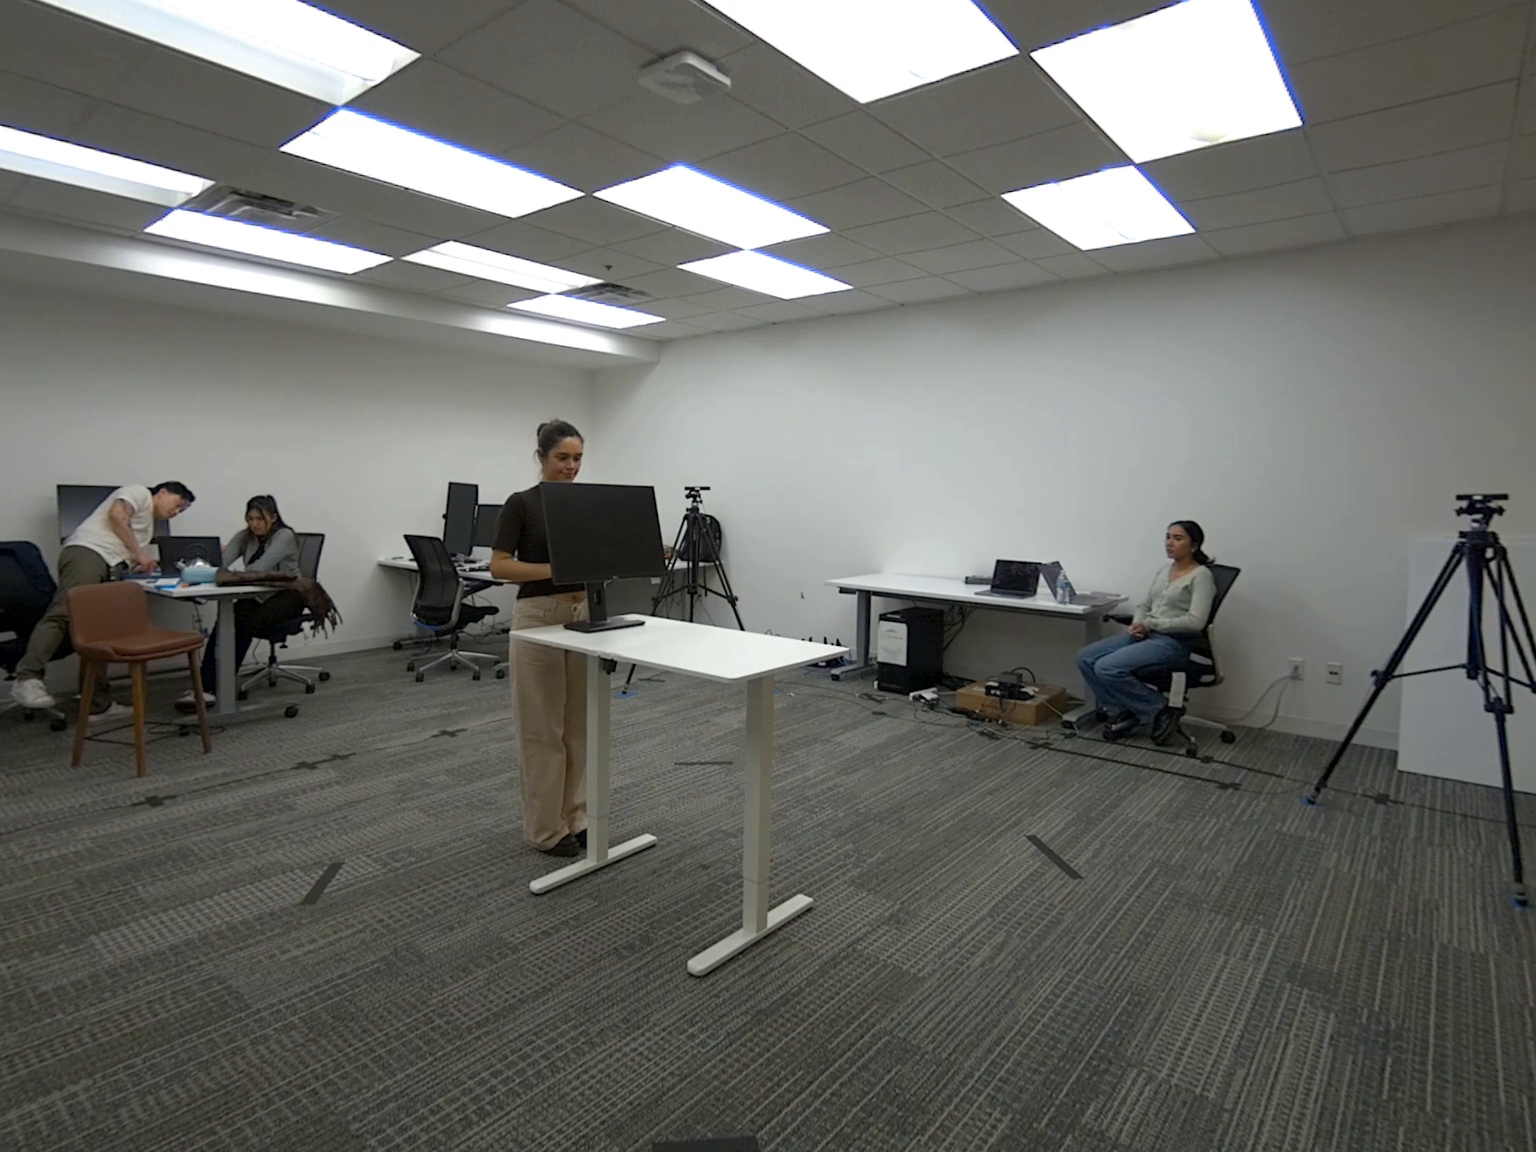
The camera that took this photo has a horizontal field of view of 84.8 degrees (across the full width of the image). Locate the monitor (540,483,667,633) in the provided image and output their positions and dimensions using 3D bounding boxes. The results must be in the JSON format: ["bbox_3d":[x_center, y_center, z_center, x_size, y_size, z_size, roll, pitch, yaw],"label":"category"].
[{"bbox_3d":[-0.611,-0.077,3.055,0.180,0.514,0.514,7,5,37],"label":"monitor"}]
